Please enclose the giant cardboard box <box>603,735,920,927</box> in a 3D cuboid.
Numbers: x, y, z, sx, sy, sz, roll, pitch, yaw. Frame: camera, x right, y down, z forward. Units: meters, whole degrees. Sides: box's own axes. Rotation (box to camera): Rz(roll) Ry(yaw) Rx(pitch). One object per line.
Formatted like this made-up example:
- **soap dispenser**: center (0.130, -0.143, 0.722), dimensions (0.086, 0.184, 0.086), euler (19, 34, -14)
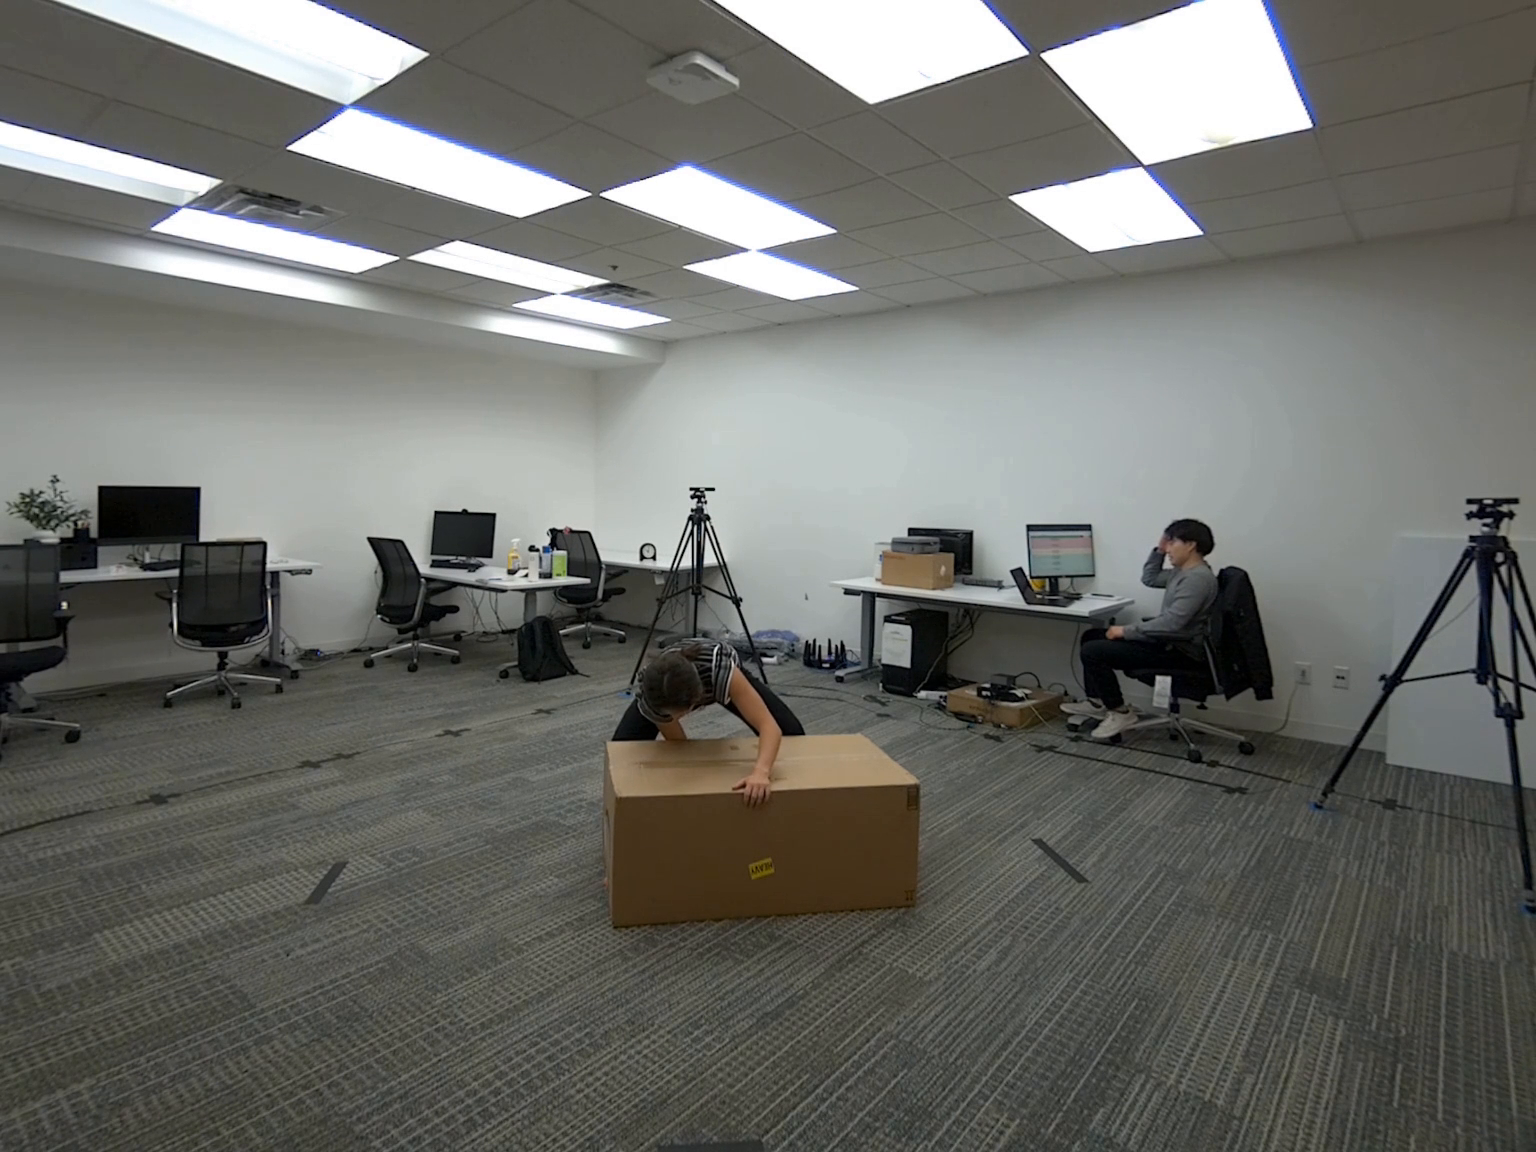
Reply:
- **giant cardboard box**: center (-0.064, 0.861, 3.029), dimensions (1.014, 0.424, 0.587), euler (0, 5, -11)
